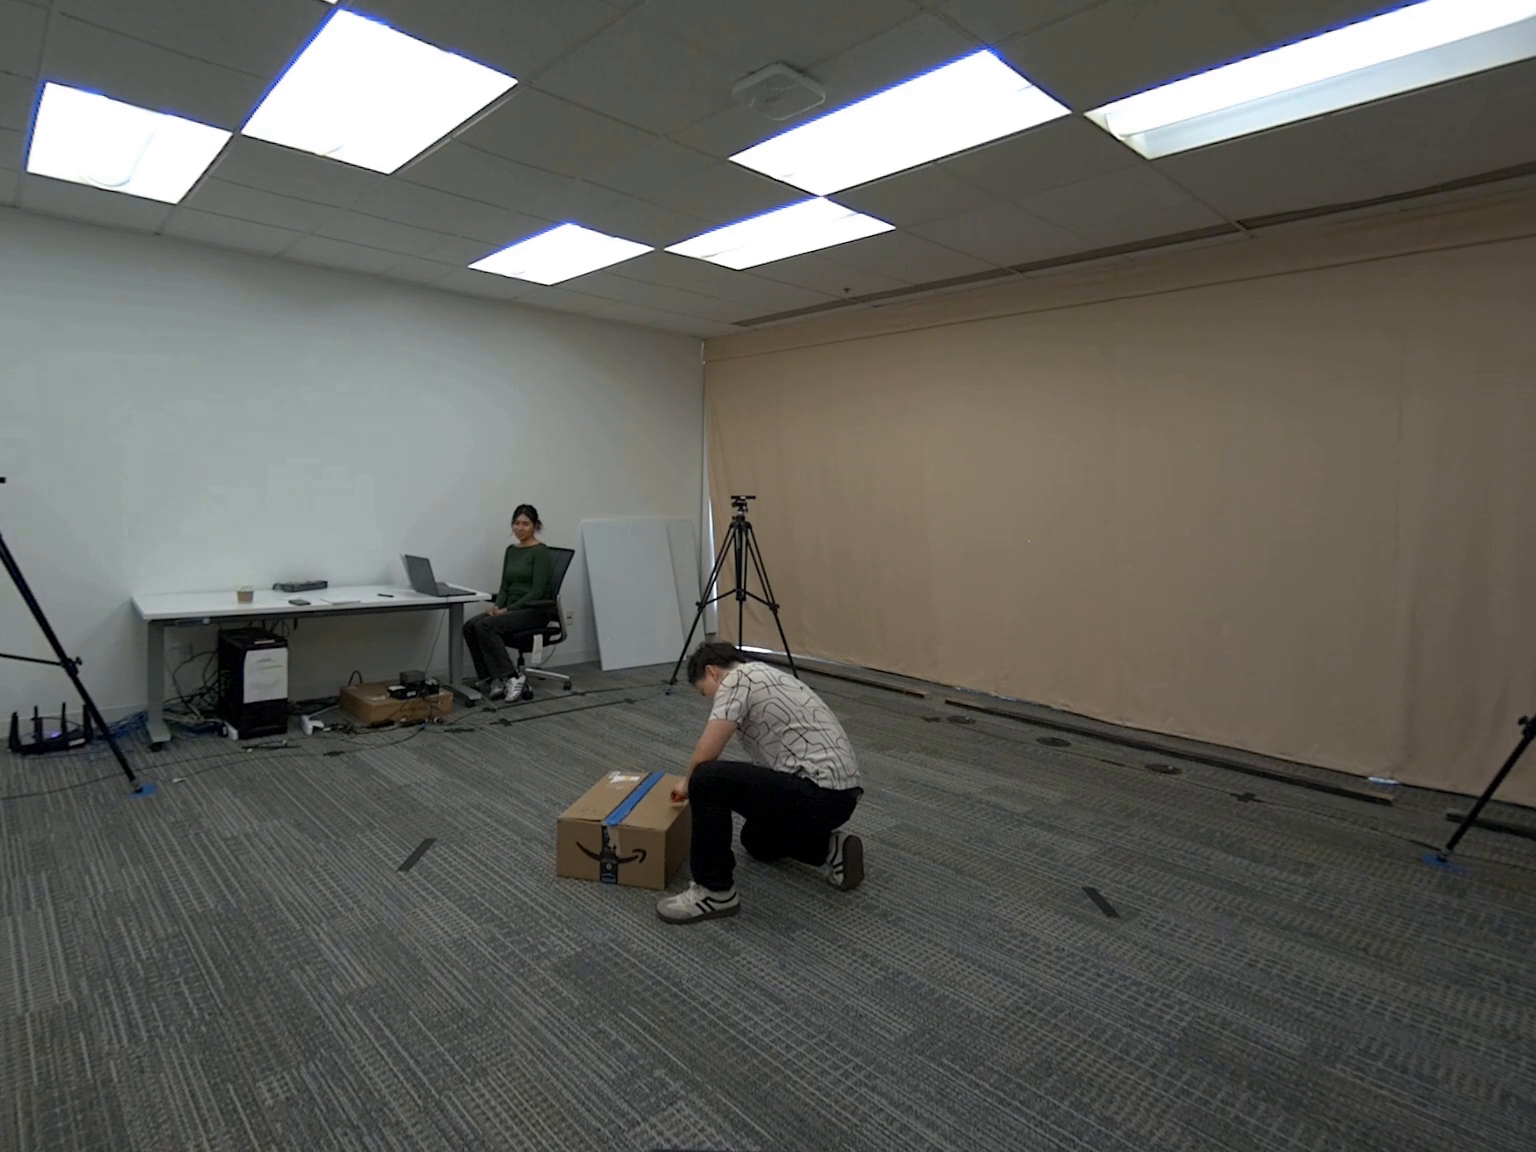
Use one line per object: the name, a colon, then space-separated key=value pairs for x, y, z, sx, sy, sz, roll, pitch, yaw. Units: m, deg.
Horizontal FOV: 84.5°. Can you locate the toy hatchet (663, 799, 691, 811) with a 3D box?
toy hatchet: x=-0.258 y=0.855 z=3.218 sx=0.133 sy=0.030 sz=0.263 roll=-16 pitch=-15 yaw=37
